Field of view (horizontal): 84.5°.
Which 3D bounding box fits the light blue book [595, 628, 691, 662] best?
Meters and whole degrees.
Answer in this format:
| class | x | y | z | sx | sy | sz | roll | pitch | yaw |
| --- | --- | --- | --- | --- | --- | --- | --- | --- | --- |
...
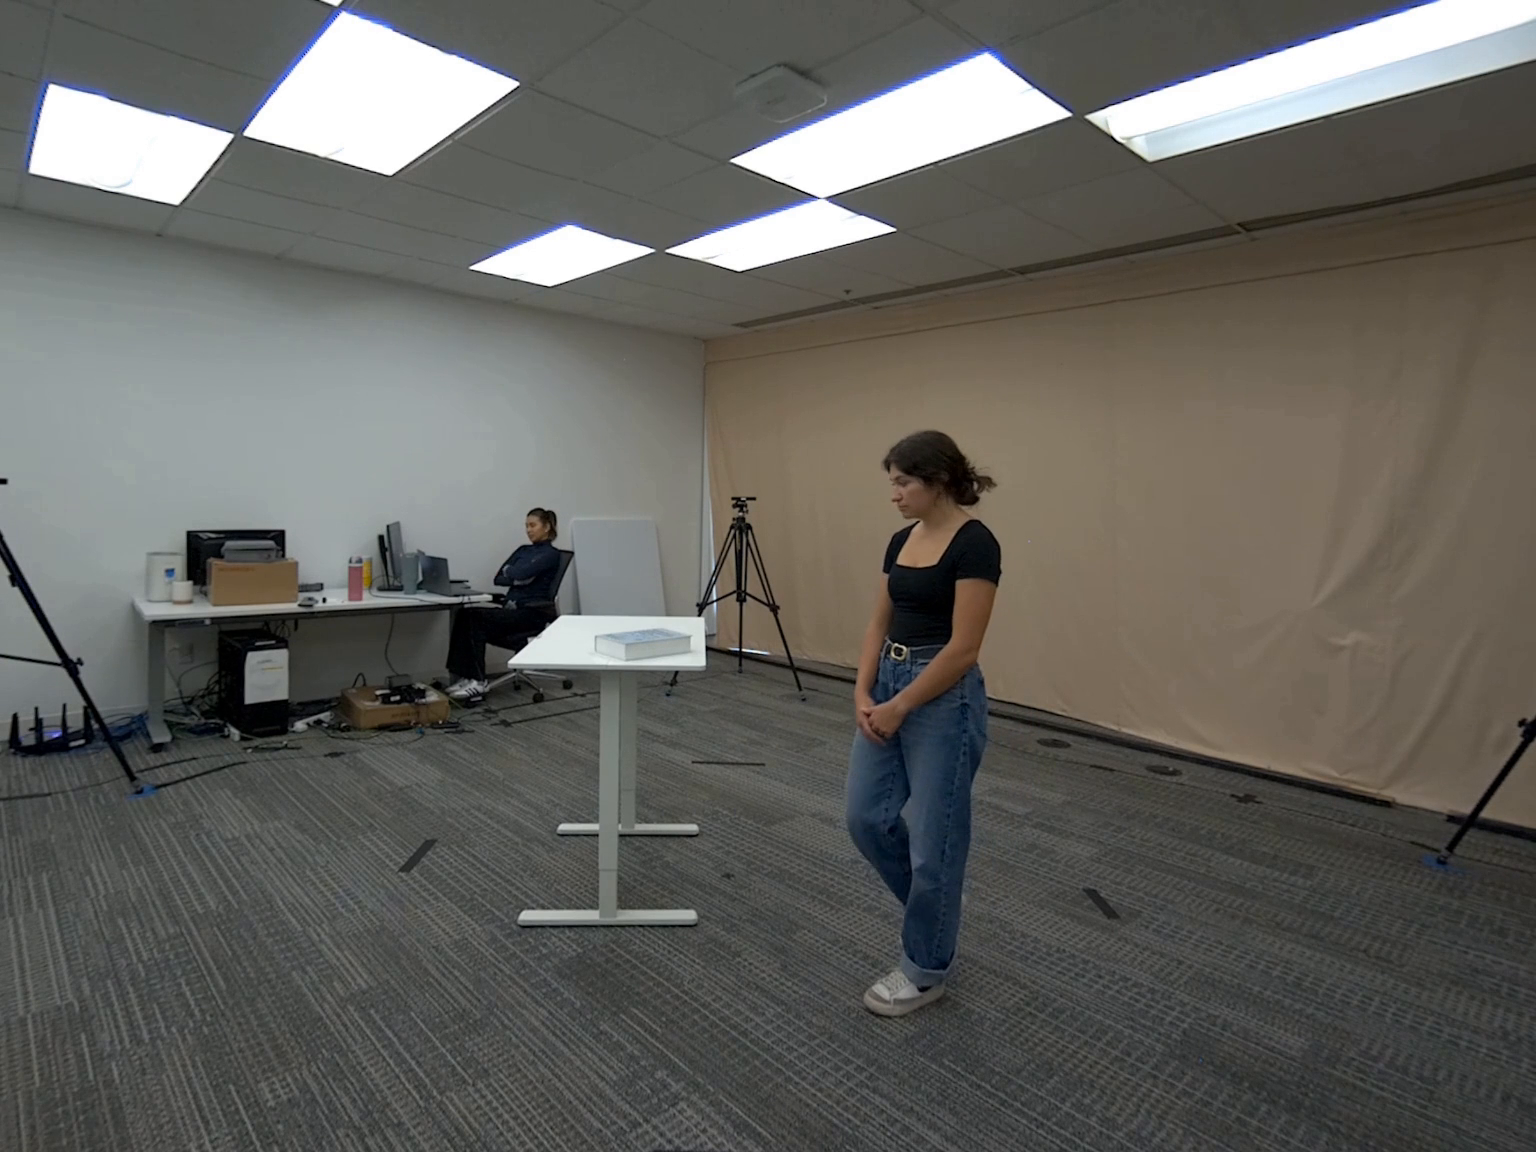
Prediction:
| class | x | y | z | sx | sy | sz | roll | pitch | yaw |
| --- | --- | --- | --- | --- | --- | --- | --- | --- | --- |
| light blue book | -0.418 | 0.223 | 2.757 | 0.255 | 0.059 | 0.196 | -4 | 7 | -42 |
